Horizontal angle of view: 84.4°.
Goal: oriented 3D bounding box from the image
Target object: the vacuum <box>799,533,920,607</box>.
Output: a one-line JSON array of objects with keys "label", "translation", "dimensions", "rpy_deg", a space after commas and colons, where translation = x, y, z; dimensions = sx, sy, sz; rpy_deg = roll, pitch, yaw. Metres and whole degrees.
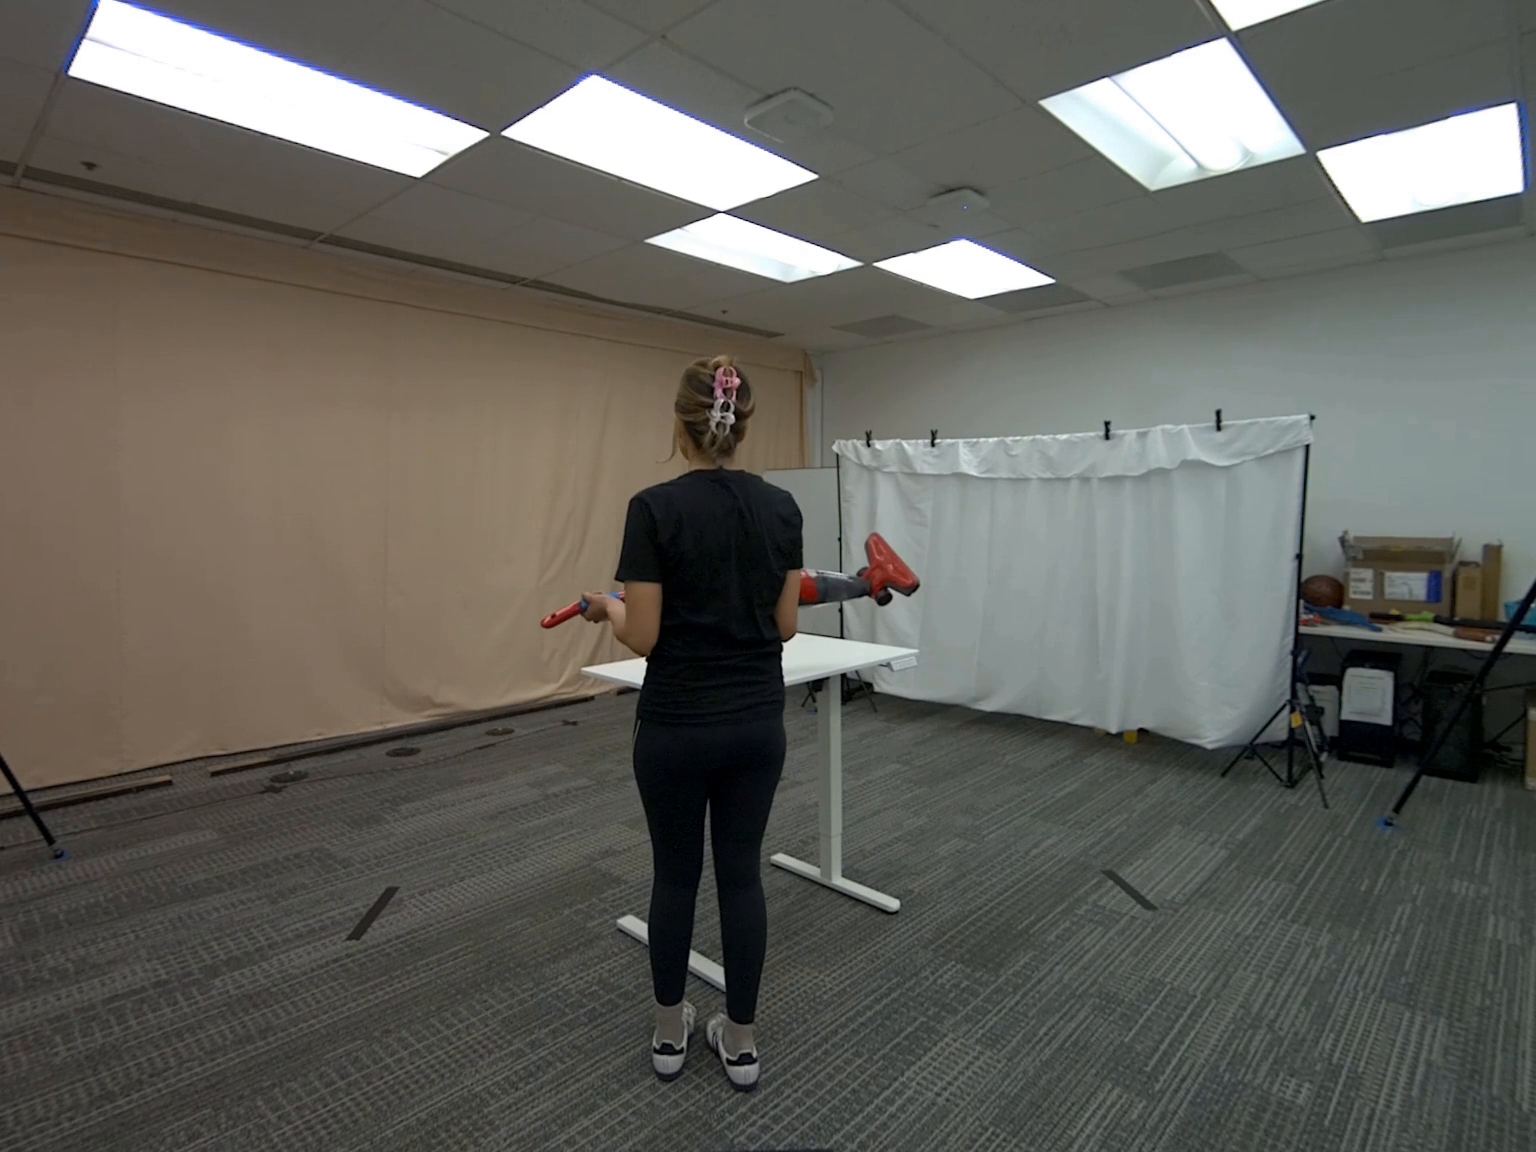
[{"label": "vacuum", "translation": [-0.101, 0.057, 2.347], "dimensions": [1.028, 0.142, 0.261], "rpy_deg": [-7, 43, -21]}]
